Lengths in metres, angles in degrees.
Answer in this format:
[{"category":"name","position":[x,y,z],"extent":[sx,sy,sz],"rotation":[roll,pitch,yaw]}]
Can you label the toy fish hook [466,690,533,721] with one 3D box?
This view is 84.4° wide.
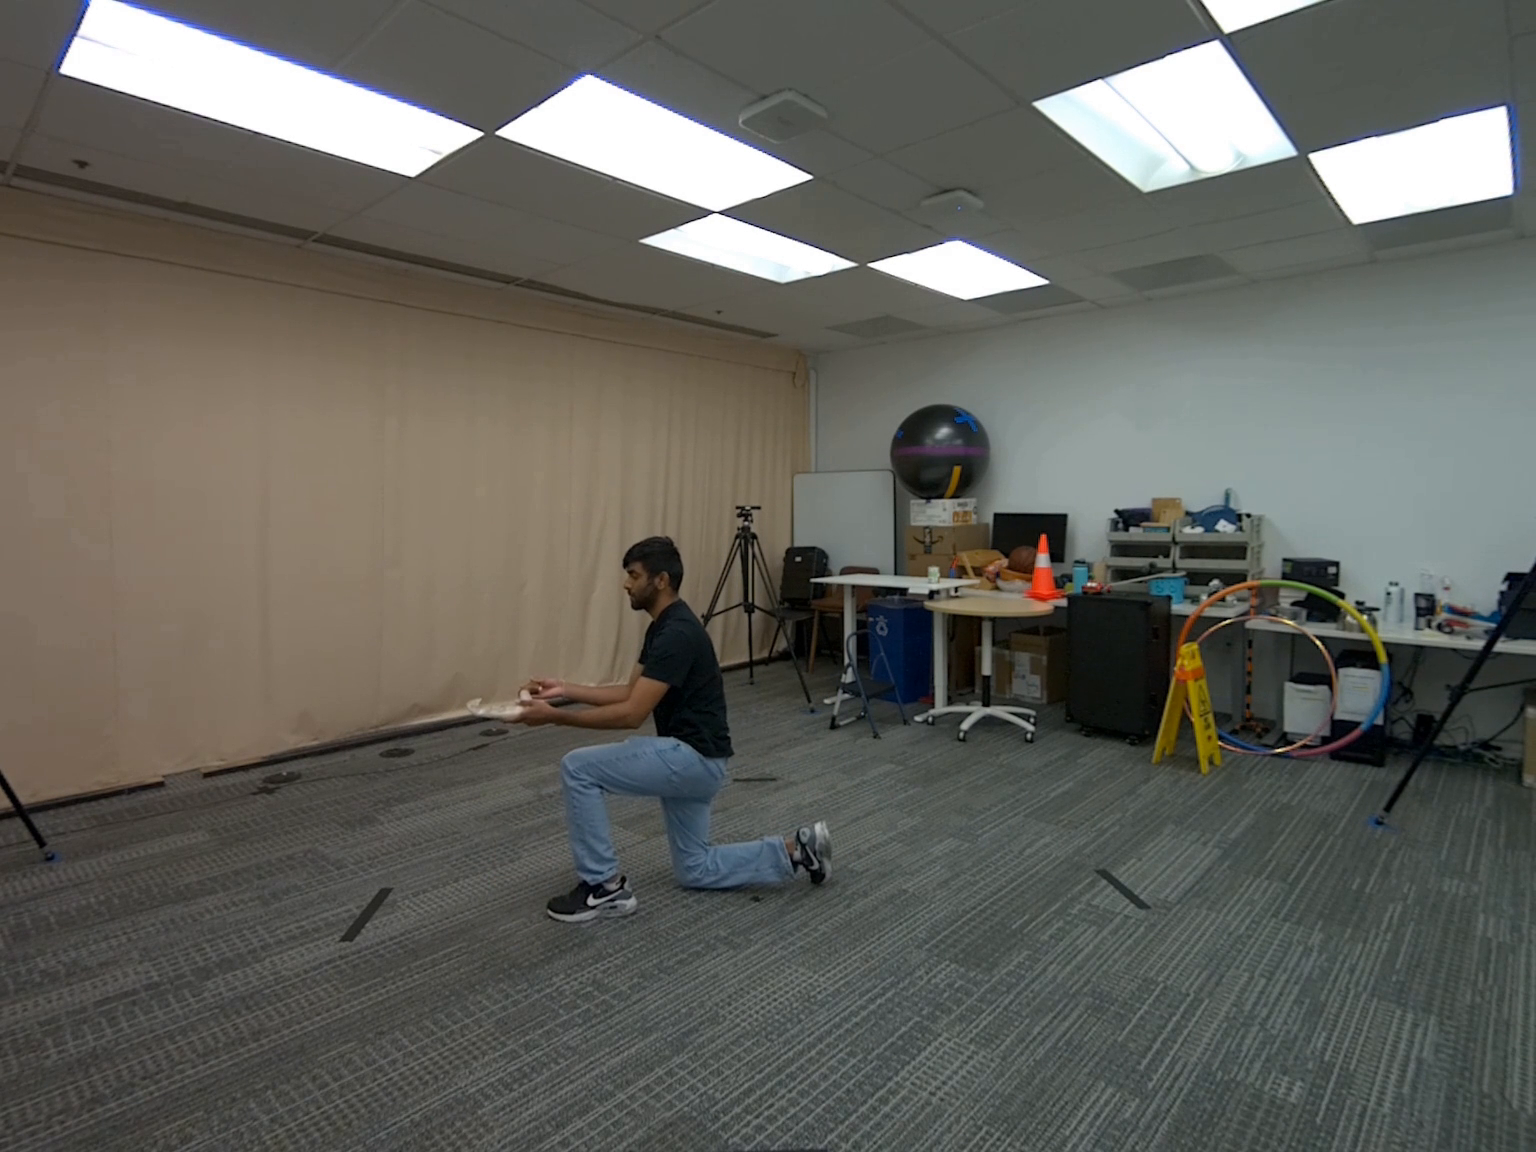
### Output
[{"category":"toy fish hook","position":[-0.916,0.431,2.970],"extent":[0.223,0.048,0.510],"rotation":[5,2,-7]}]
